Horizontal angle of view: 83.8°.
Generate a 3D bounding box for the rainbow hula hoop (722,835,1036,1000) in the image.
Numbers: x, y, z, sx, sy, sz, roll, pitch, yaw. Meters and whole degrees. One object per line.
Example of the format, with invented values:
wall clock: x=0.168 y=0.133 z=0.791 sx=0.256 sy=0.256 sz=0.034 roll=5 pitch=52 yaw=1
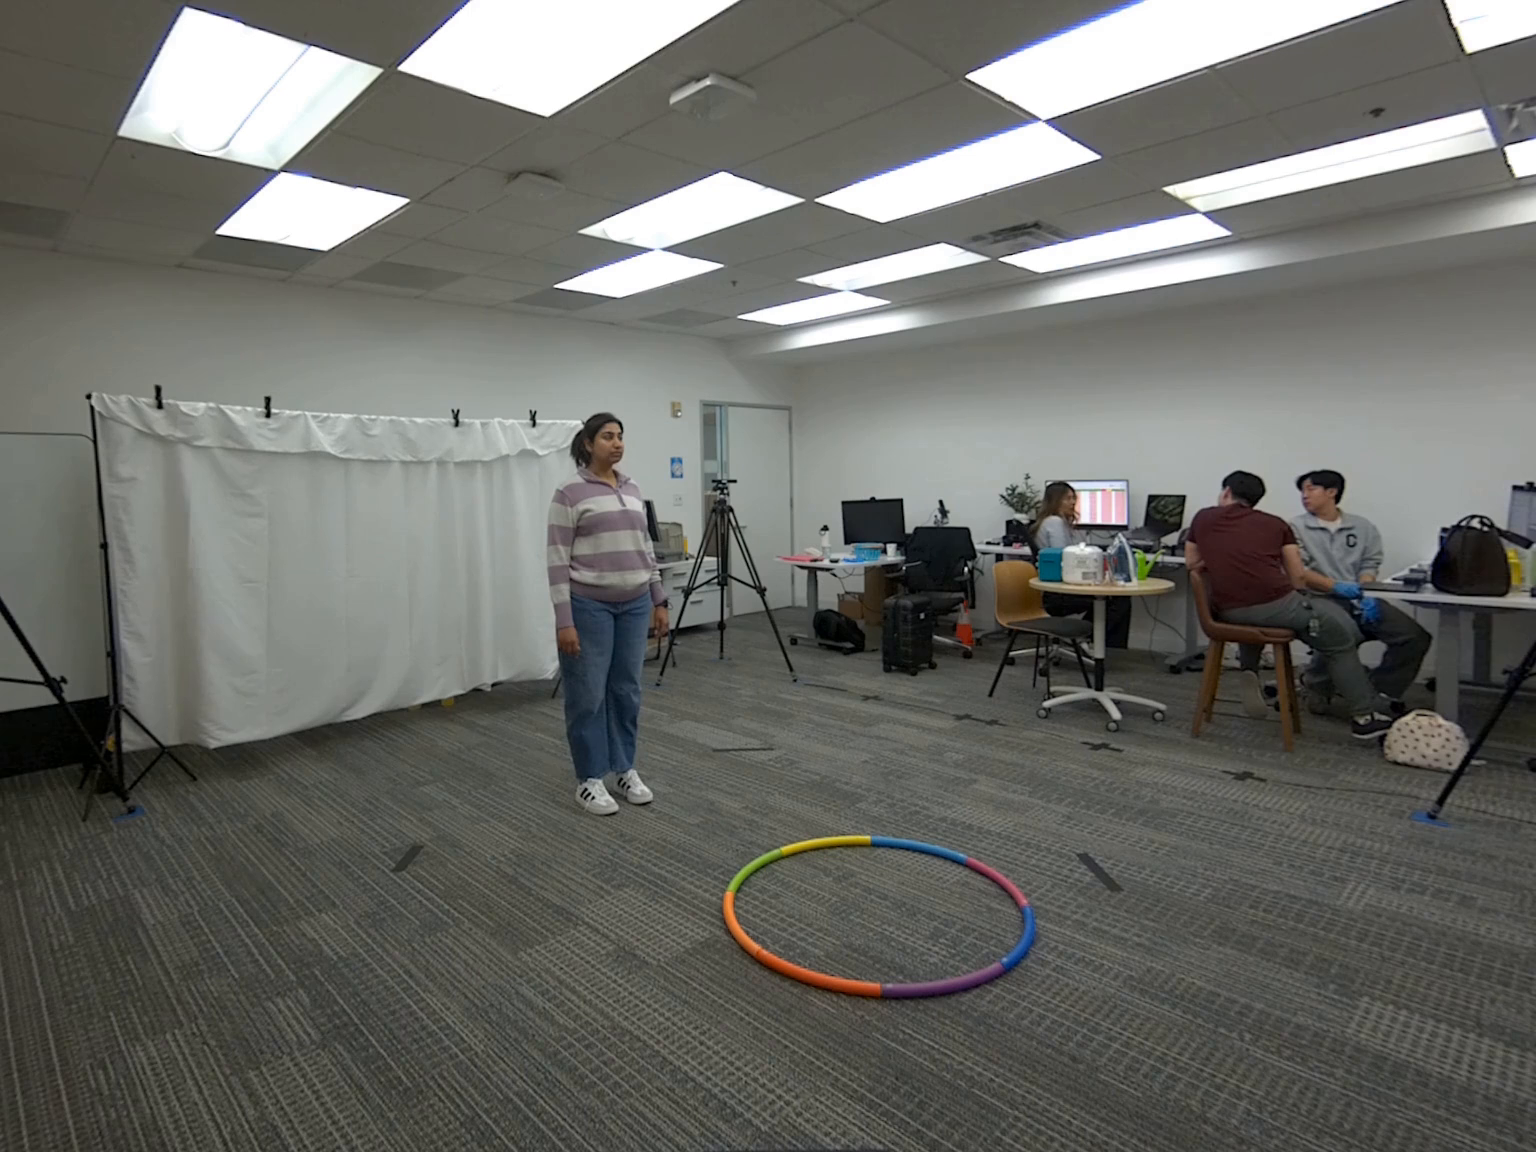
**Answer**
rainbow hula hoop: x=0.342 y=1.049 z=2.776 sx=0.978 sy=0.035 sz=0.984 roll=-2 pitch=7 yaw=-2
